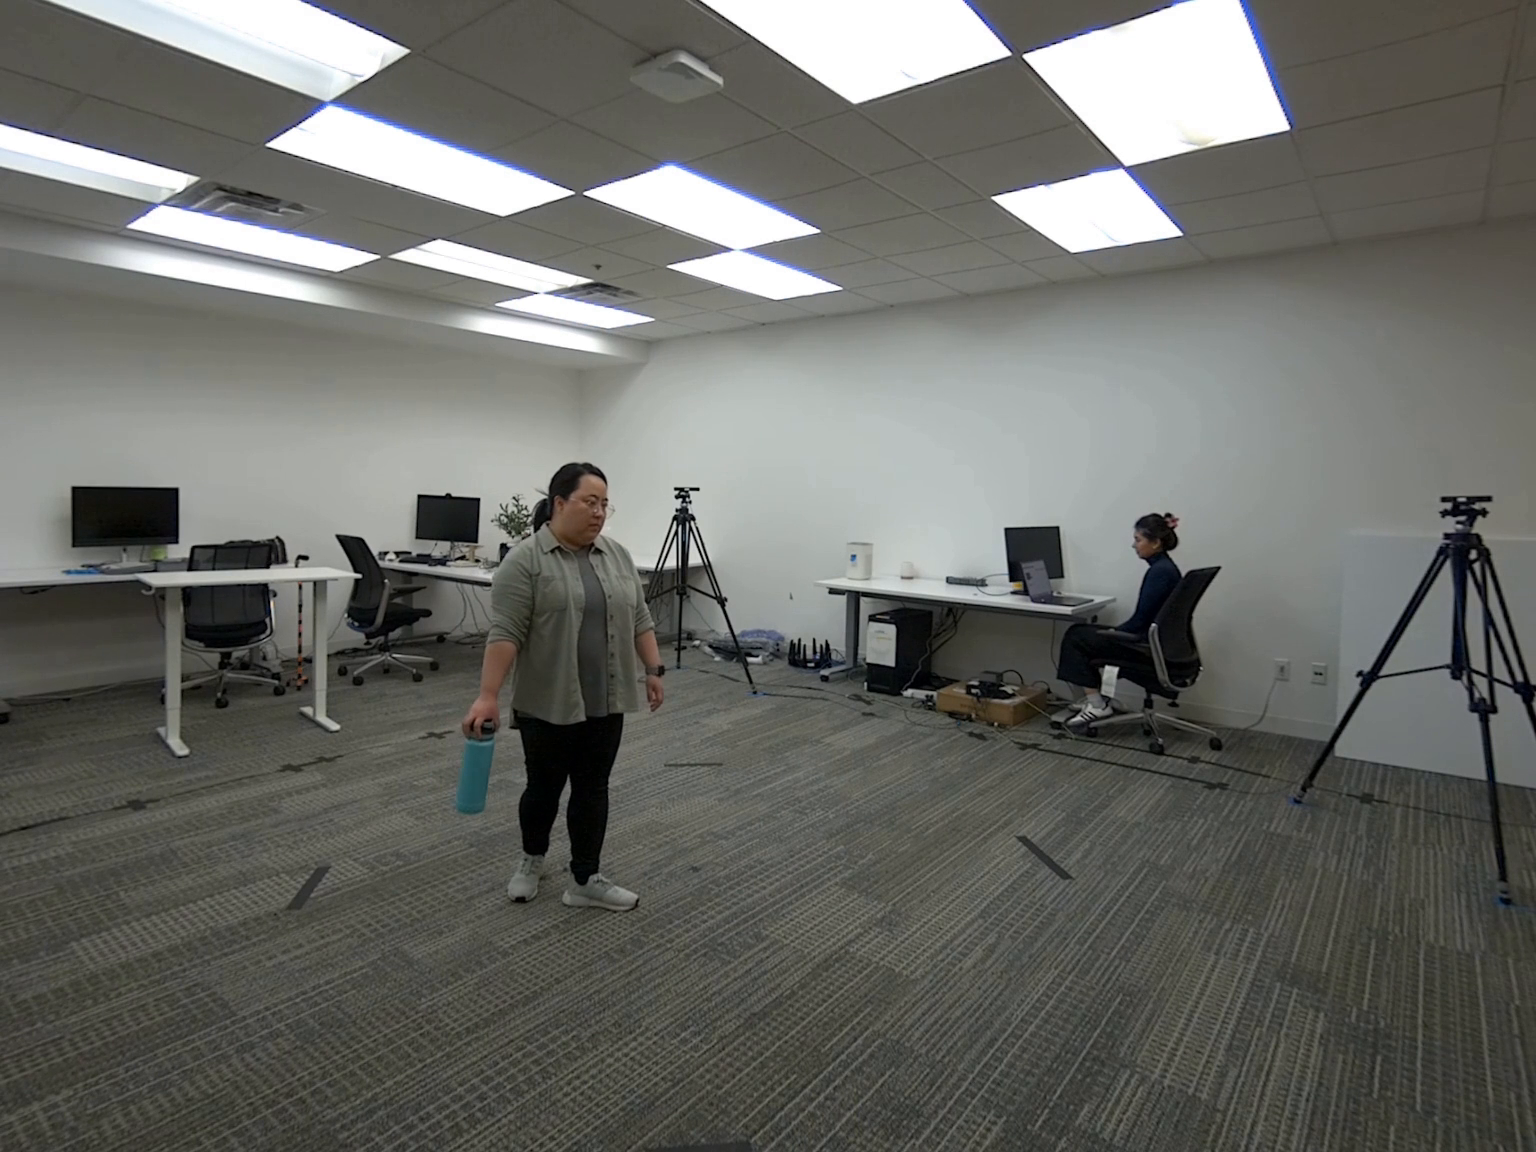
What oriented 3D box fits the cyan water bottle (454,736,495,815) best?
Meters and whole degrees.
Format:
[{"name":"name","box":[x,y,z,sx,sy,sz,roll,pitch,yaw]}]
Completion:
[{"name":"cyan water bottle","box":[-0.886,0.569,2.571,0.092,0.282,0.093,7,5,-3]}]
